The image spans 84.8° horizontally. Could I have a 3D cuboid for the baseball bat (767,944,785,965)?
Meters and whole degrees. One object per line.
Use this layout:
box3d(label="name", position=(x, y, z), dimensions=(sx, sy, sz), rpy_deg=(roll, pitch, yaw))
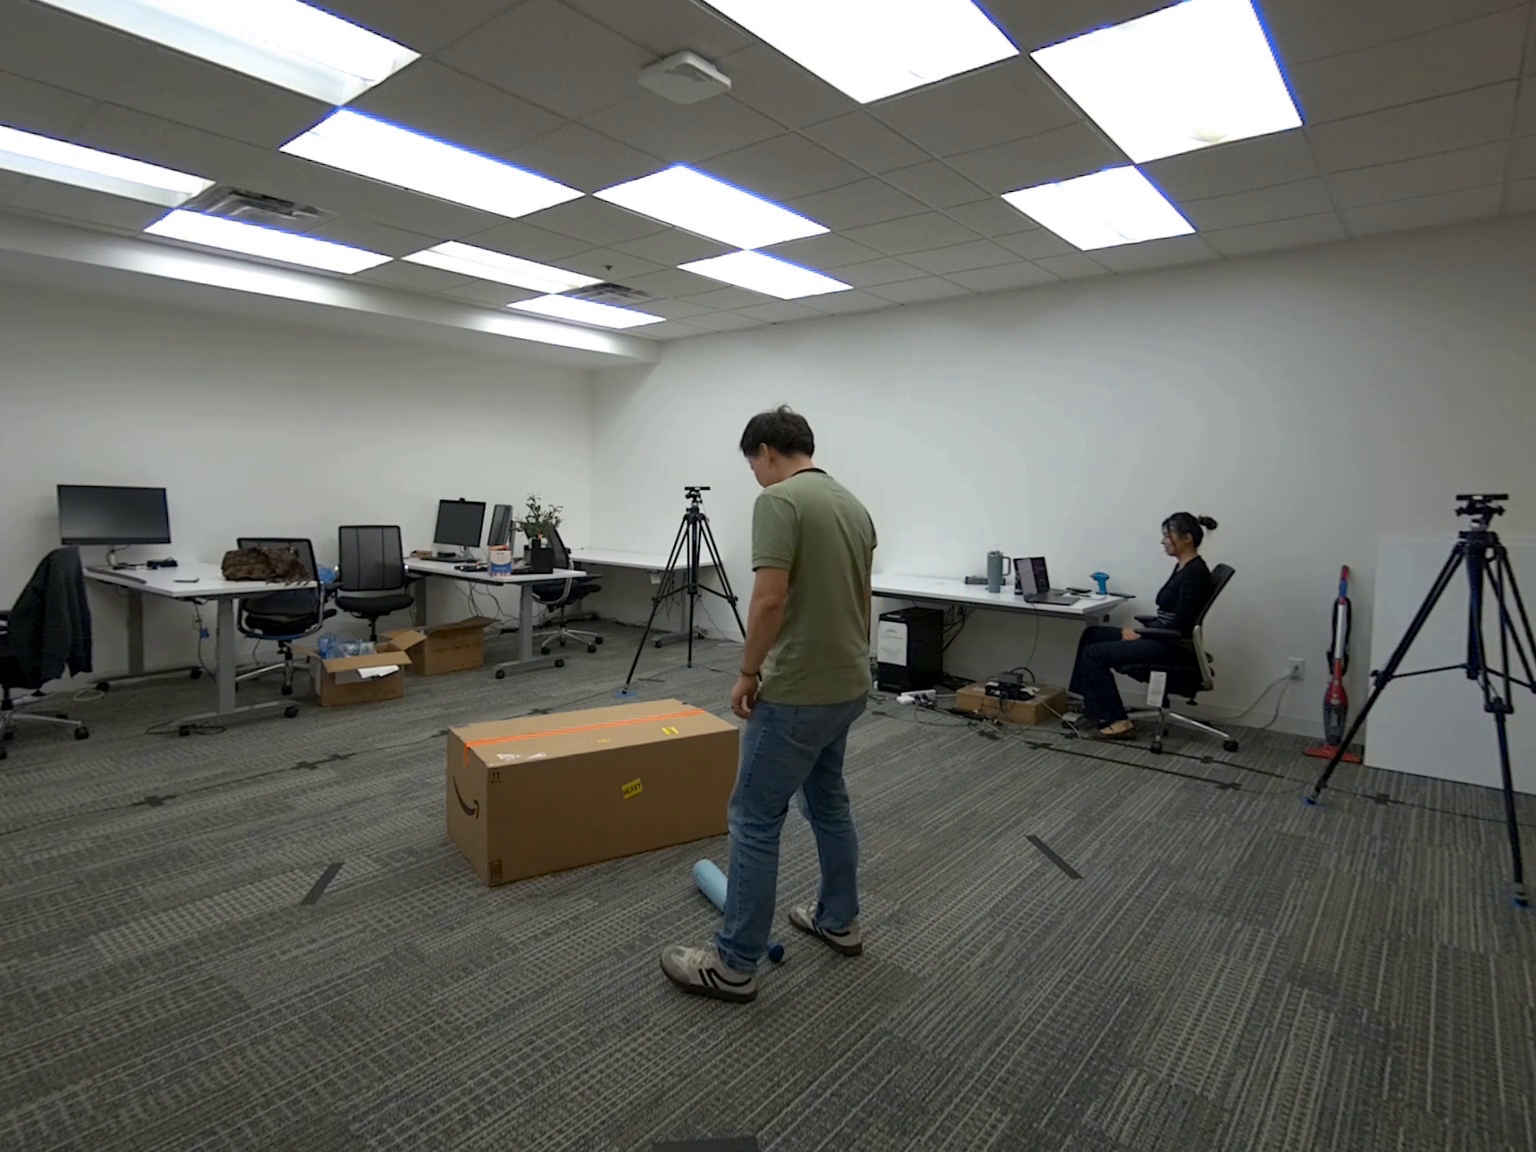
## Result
box3d(label="baseball bat", position=(-0.099, 1.064, 2.729), dimensions=(0.087, 0.088, 0.560), rpy_deg=(-2, 9, -27))
